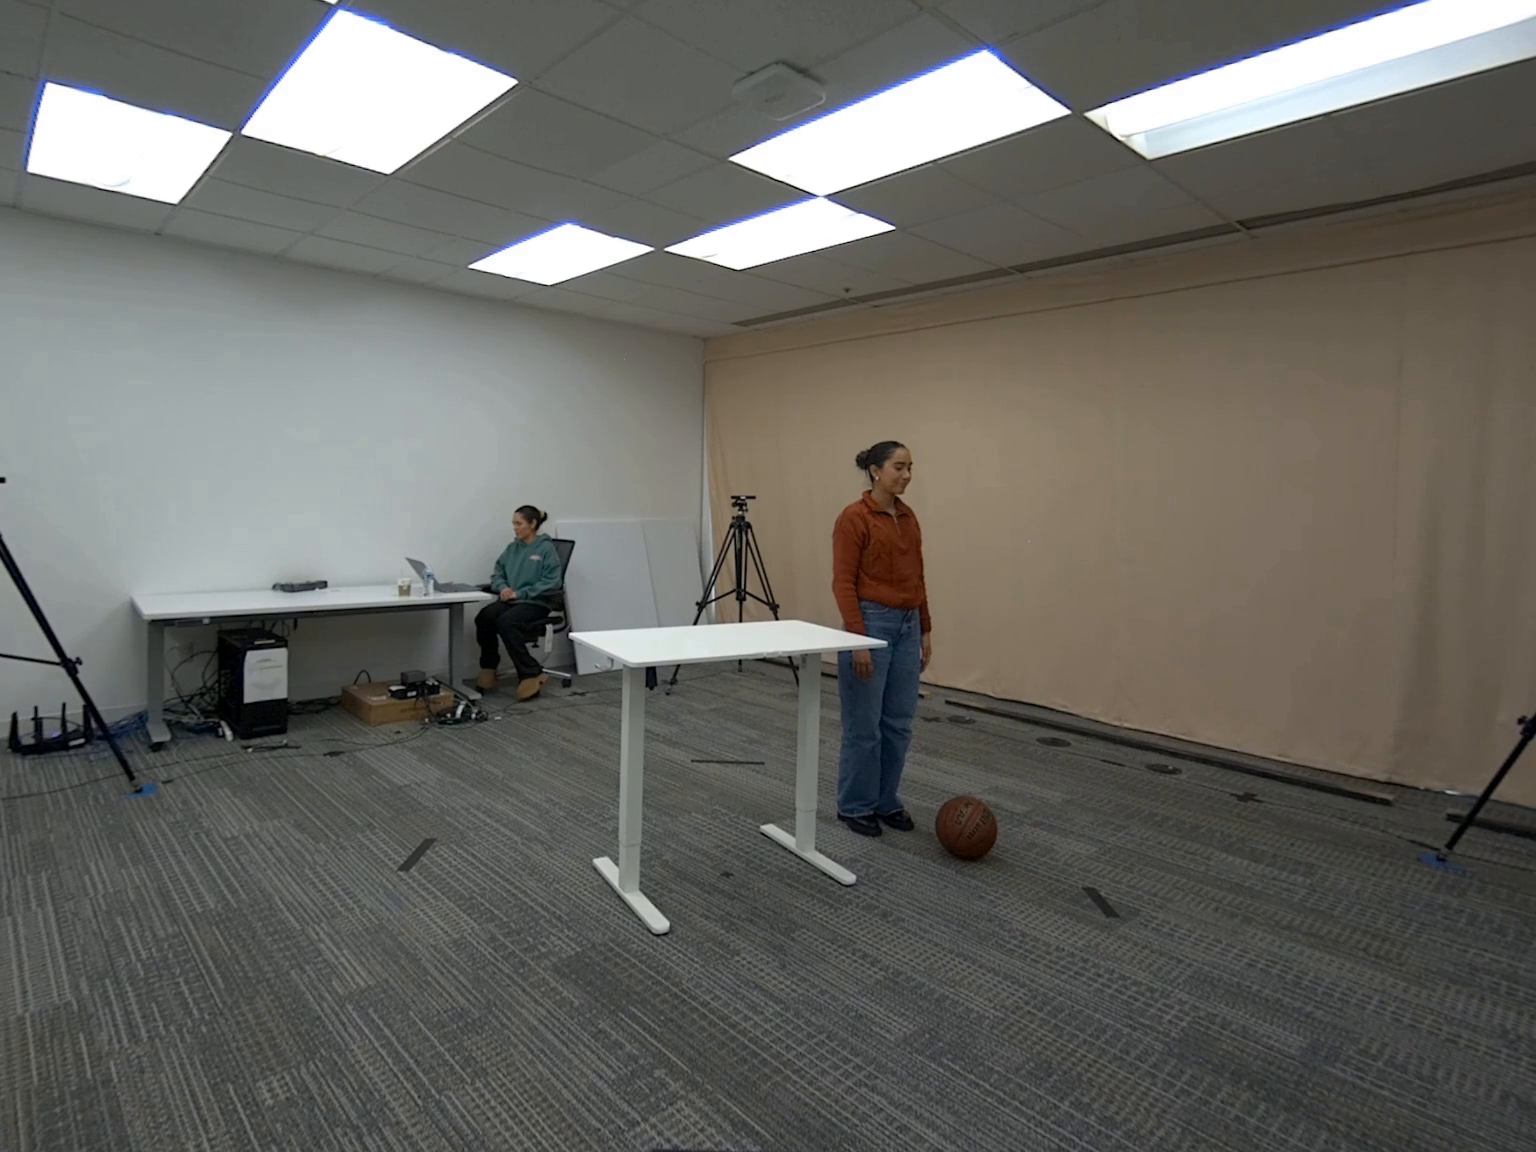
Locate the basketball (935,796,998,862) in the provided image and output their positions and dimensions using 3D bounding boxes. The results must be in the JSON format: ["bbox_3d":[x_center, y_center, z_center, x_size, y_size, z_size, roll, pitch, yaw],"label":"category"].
[{"bbox_3d":[0.767,0.980,3.313,0.236,0.235,0.237,1,4,-1],"label":"basketball"}]
